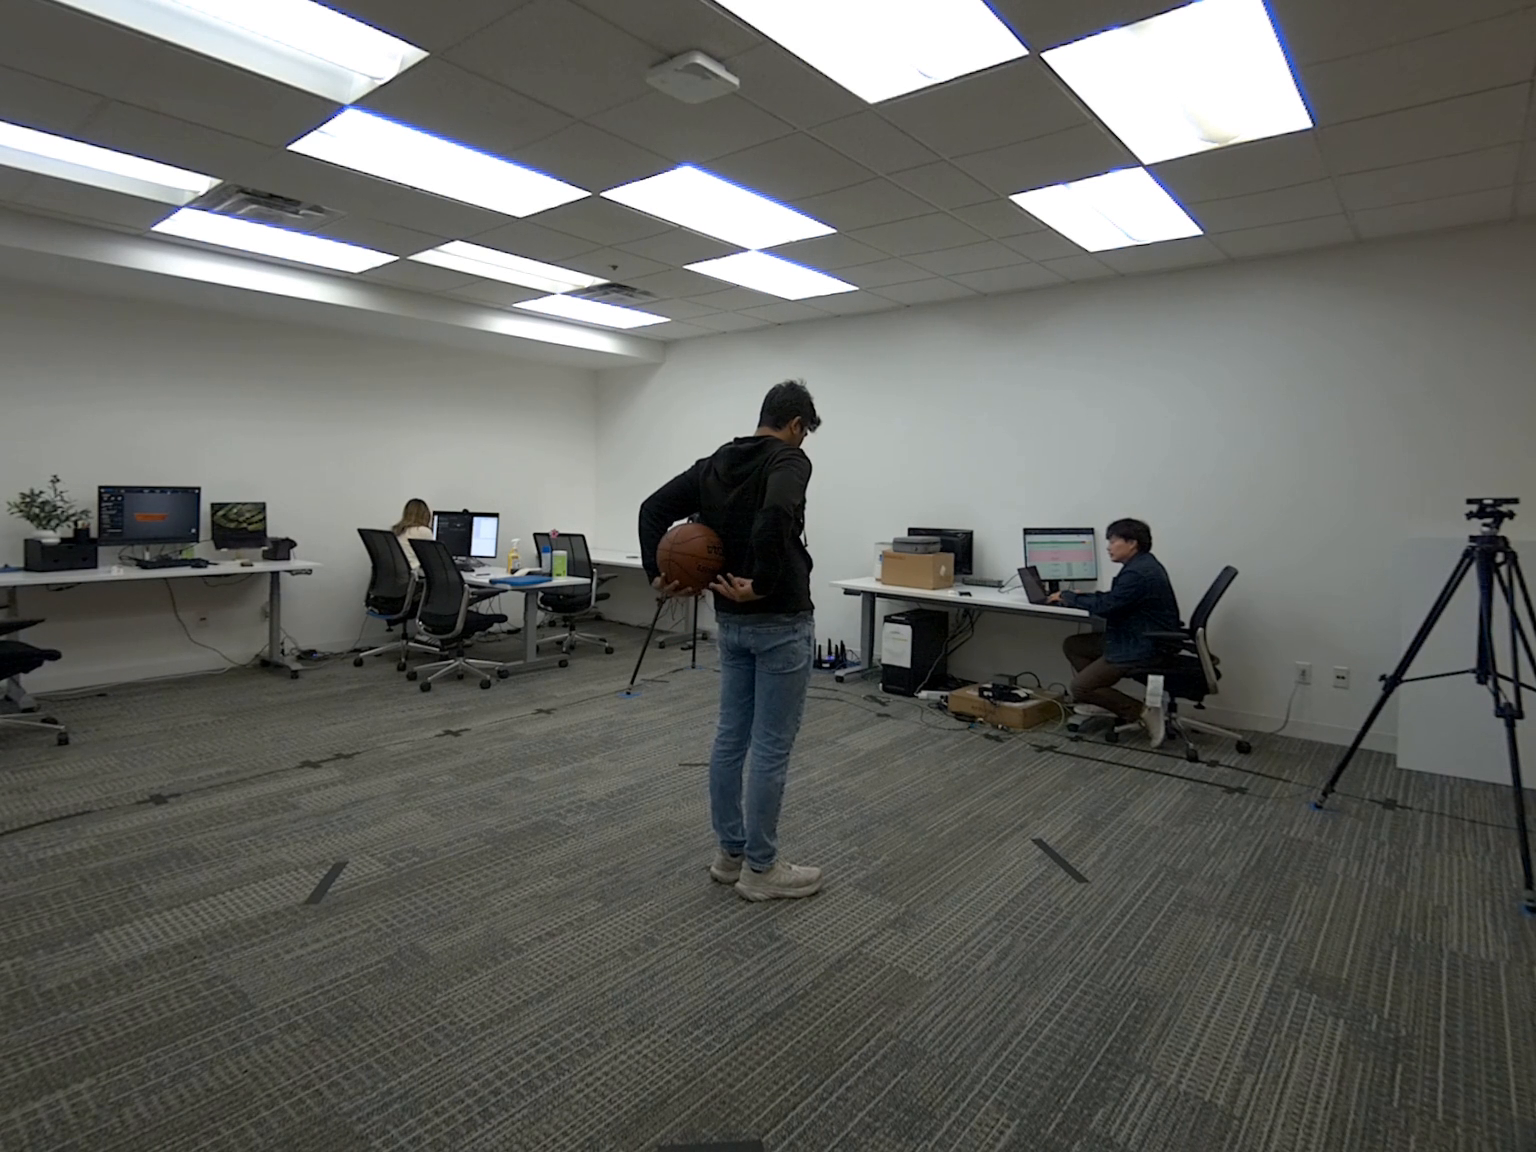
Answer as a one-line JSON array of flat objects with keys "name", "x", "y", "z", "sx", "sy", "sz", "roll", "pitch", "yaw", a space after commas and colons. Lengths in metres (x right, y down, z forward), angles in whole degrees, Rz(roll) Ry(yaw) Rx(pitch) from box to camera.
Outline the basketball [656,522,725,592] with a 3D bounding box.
[{"name": "basketball", "x": -0.262, "y": -0.064, "z": 2.935, "sx": 0.235, "sy": 0.235, "sz": 0.237, "roll": 1, "pitch": 4, "yaw": -2}]
